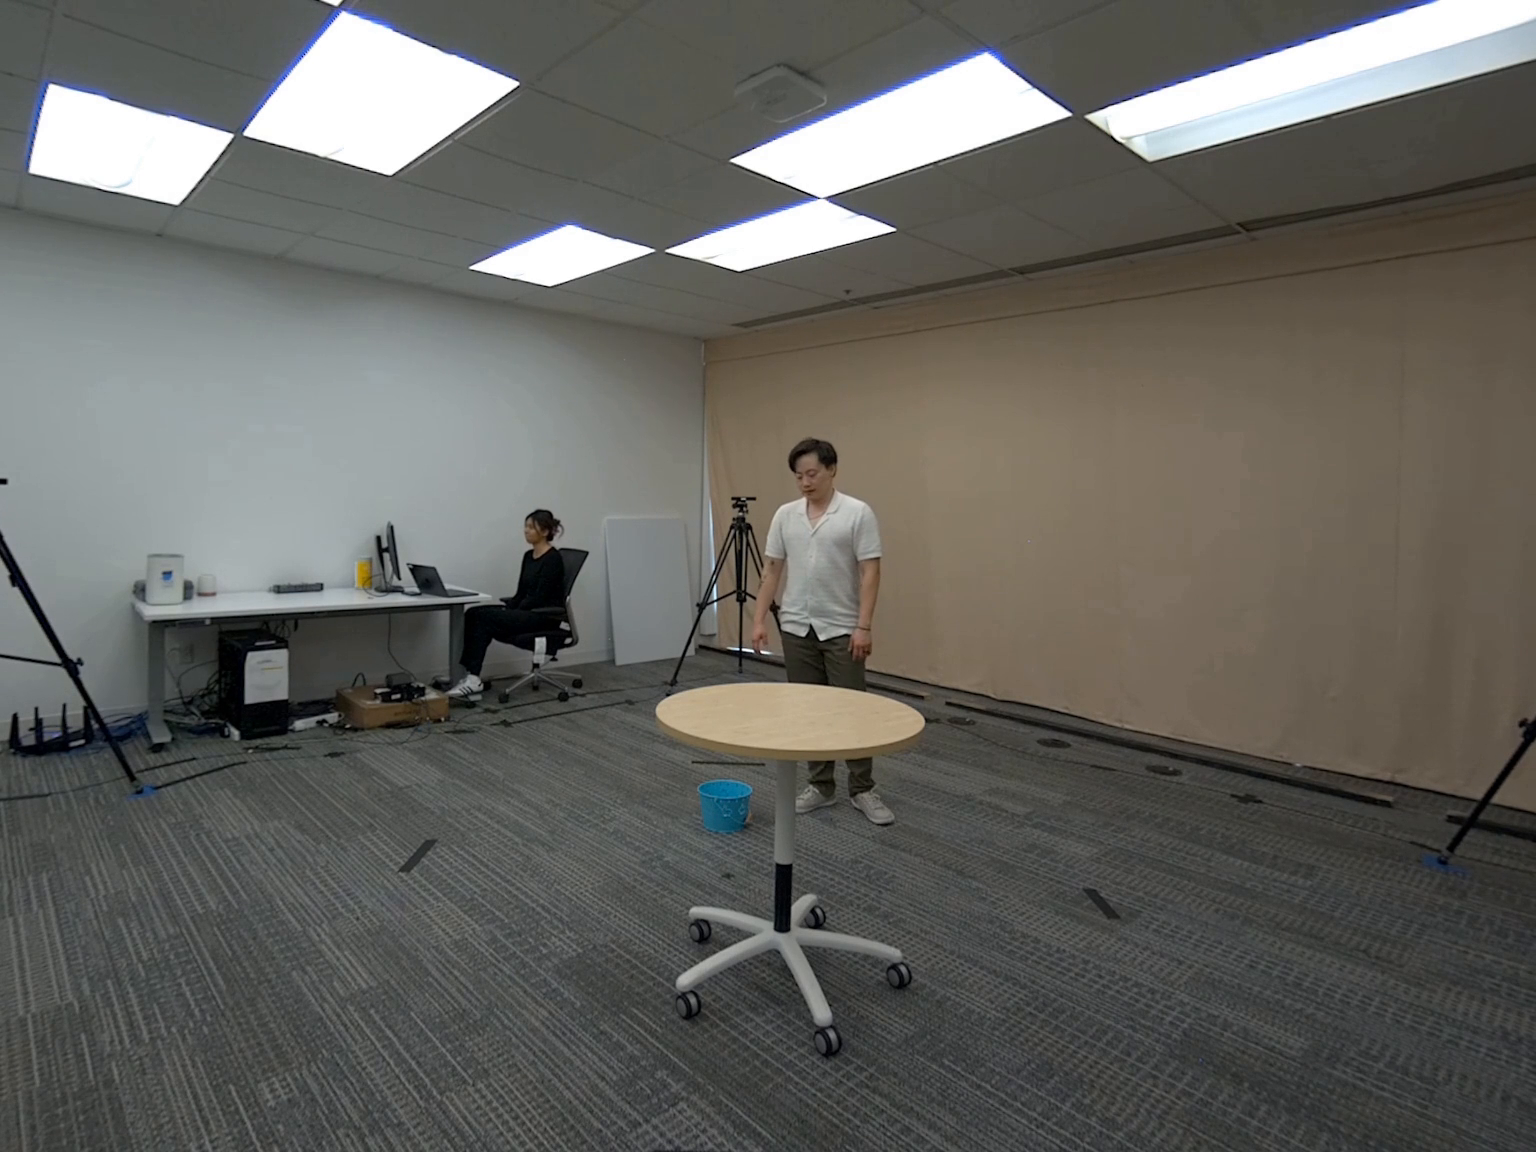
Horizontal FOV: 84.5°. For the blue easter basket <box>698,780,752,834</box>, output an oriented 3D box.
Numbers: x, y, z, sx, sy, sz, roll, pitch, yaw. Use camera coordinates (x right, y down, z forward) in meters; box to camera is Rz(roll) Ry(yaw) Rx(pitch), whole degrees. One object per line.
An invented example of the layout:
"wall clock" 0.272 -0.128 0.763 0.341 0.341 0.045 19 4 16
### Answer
"blue easter basket" -0.195 0.985 3.596 0.243 0.155 0.244 1 5 -1
